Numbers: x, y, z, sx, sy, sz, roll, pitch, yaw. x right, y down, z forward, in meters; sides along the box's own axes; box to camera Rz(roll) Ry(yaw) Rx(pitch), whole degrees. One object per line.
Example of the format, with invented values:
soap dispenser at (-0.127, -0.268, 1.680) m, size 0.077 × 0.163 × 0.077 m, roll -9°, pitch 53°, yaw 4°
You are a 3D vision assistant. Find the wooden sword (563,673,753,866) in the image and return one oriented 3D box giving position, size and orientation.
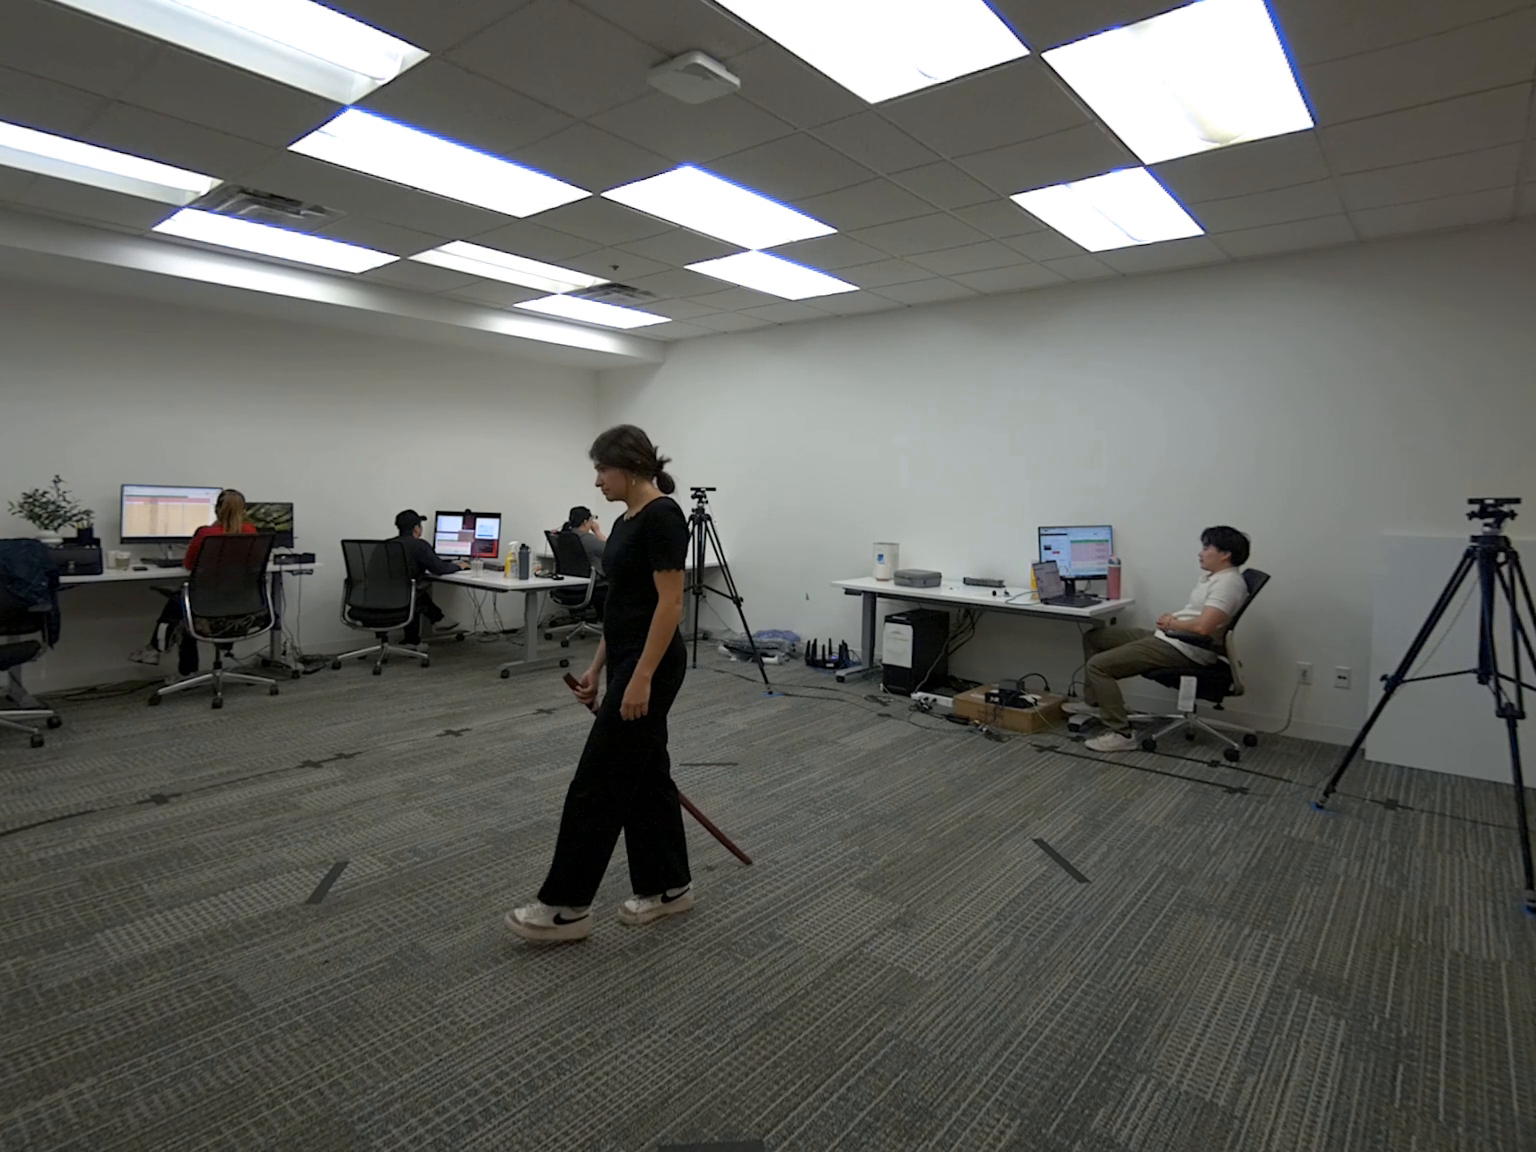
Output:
wooden sword at (-0.380, 0.706, 3.003) m, size 0.024 × 1.001 × 0.051 m, roll -18°, pitch 29°, yaw 53°
